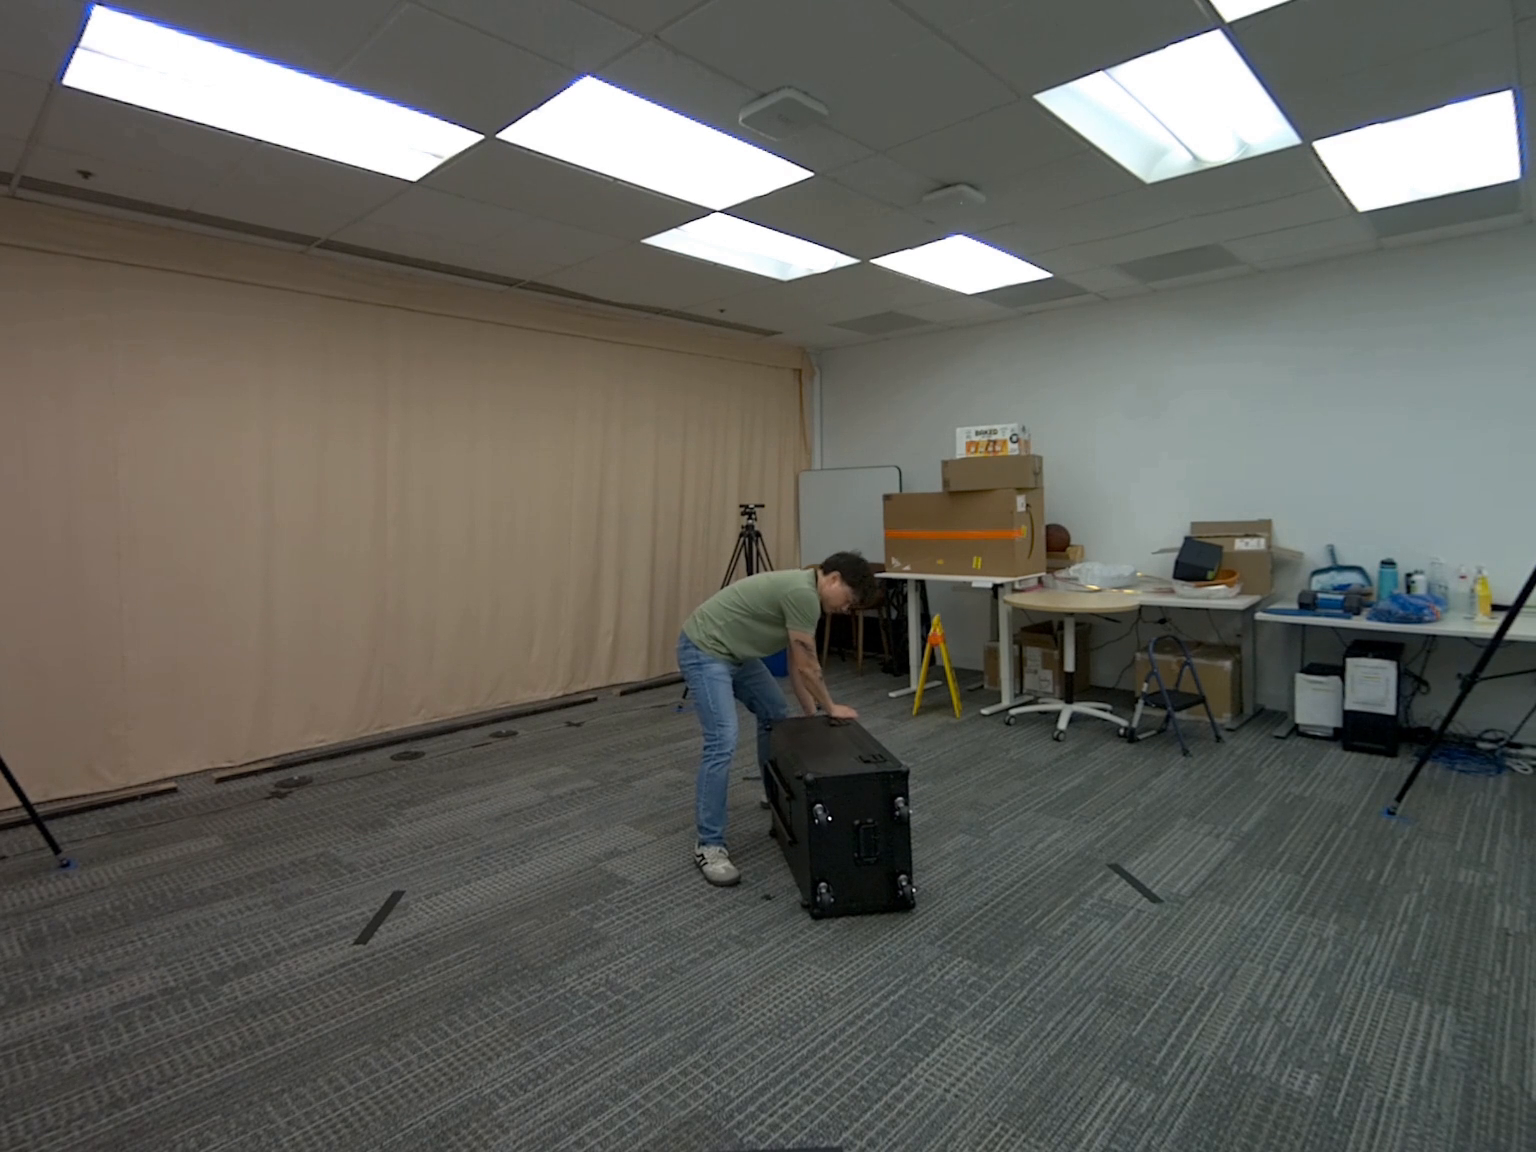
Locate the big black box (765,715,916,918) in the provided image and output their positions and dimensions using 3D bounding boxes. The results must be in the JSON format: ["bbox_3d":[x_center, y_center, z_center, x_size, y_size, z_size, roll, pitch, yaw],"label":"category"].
[{"bbox_3d":[0.244,0.860,3.164,0.393,0.520,0.871,-4,5,-10],"label":"big black box"}]
